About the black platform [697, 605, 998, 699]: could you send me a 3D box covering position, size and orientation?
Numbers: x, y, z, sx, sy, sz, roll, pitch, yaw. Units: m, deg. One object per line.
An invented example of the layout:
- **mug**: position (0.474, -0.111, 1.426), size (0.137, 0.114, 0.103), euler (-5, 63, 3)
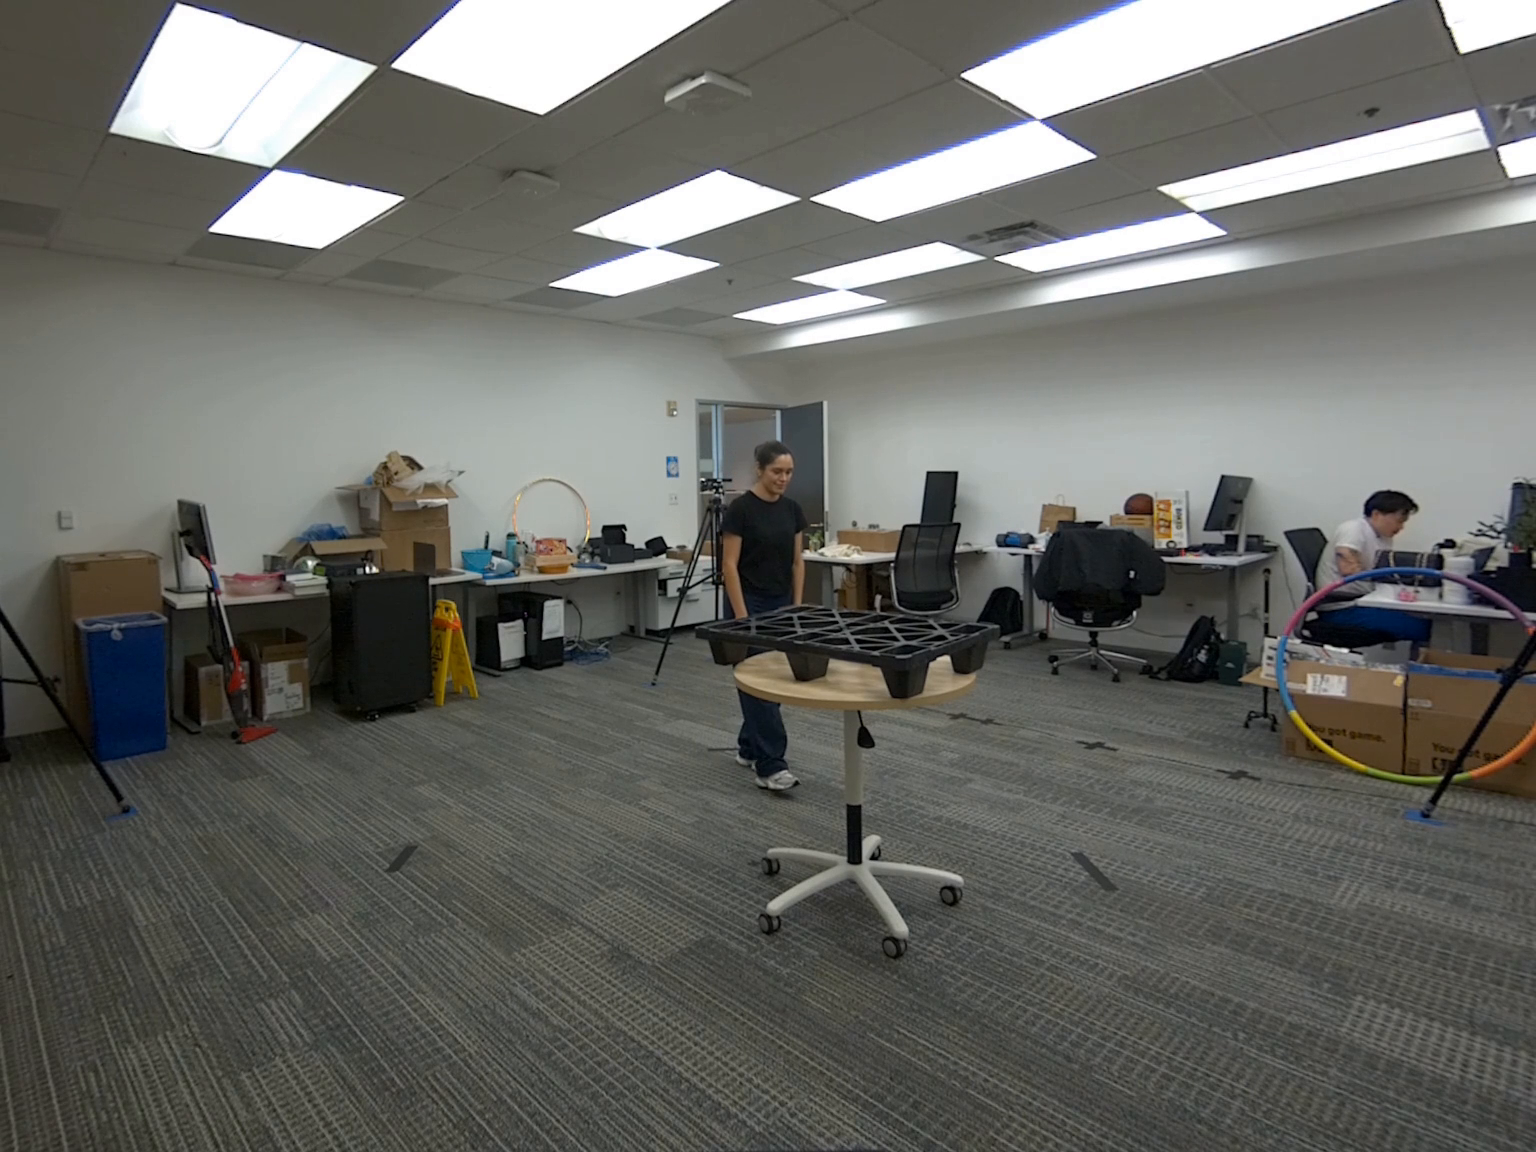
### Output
- **black platform**: position (0.246, 0.234, 2.790), size (0.830, 0.142, 0.590), euler (4, 8, 42)
